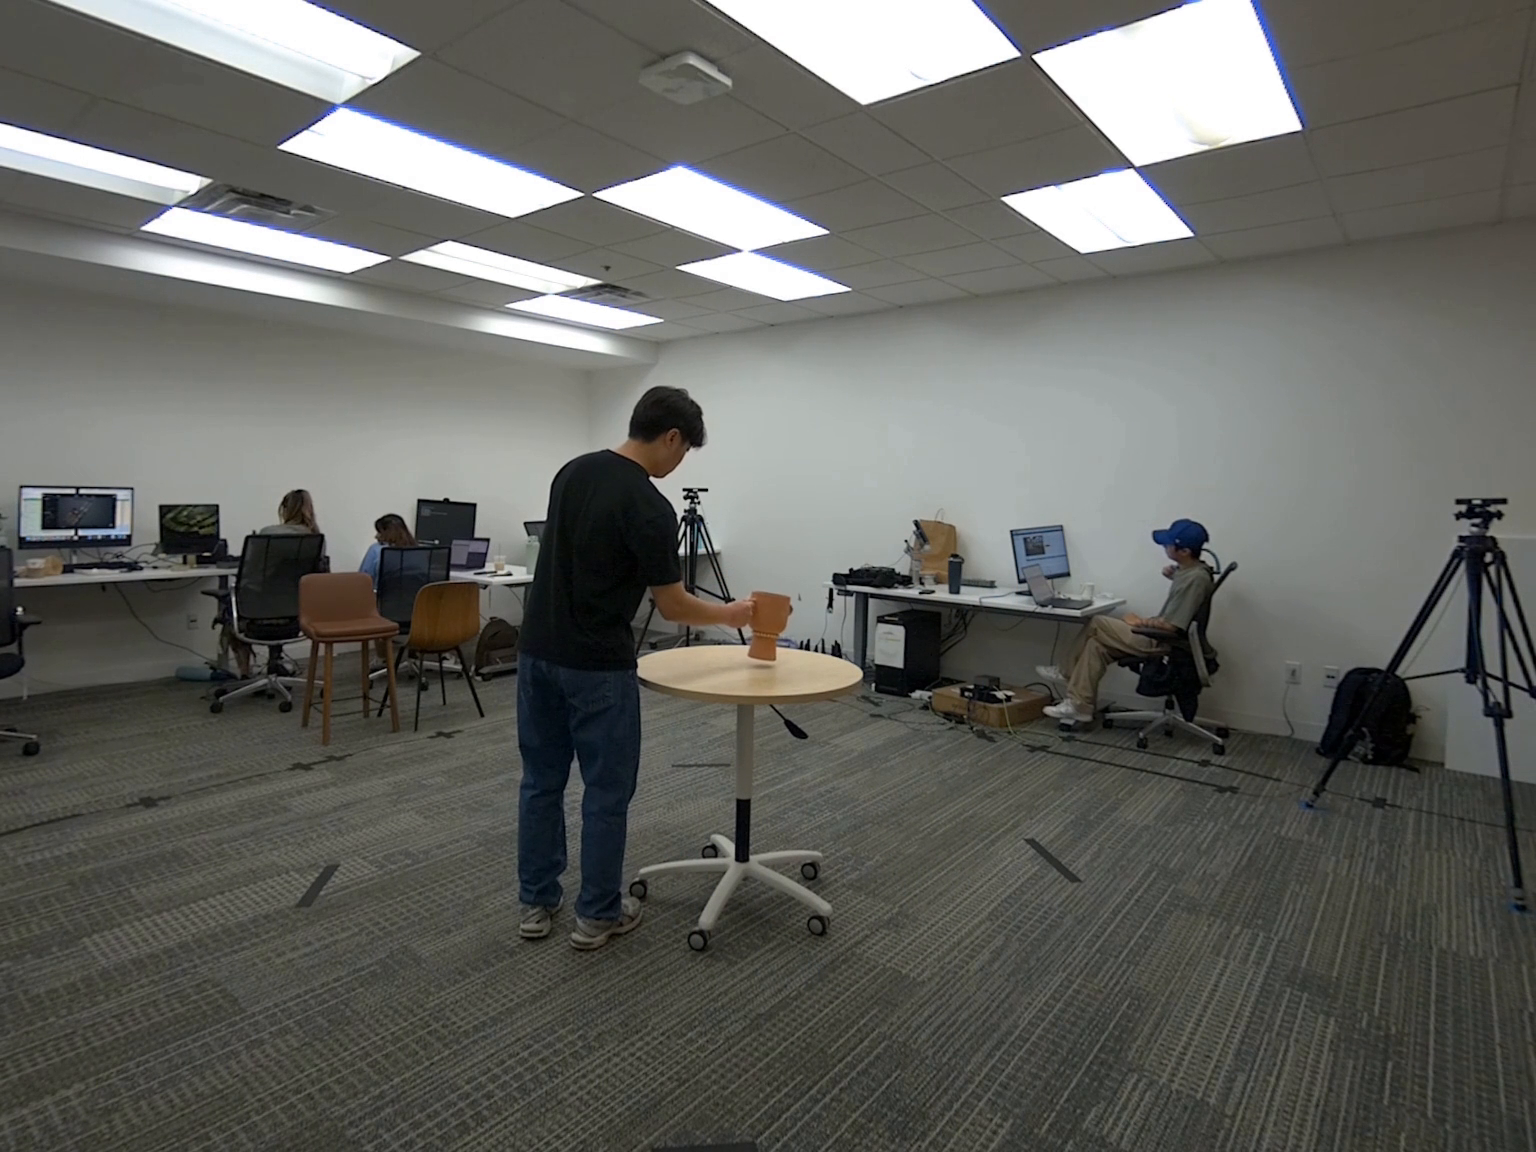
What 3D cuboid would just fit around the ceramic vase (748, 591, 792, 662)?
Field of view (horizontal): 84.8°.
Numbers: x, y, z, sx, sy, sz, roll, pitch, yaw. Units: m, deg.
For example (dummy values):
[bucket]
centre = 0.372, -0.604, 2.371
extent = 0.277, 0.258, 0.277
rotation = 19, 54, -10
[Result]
[ceramic vase]
centre = -0.017, 0.169, 2.857
extent = 0.160, 0.220, 0.133
rotation = 8, 0, 5
